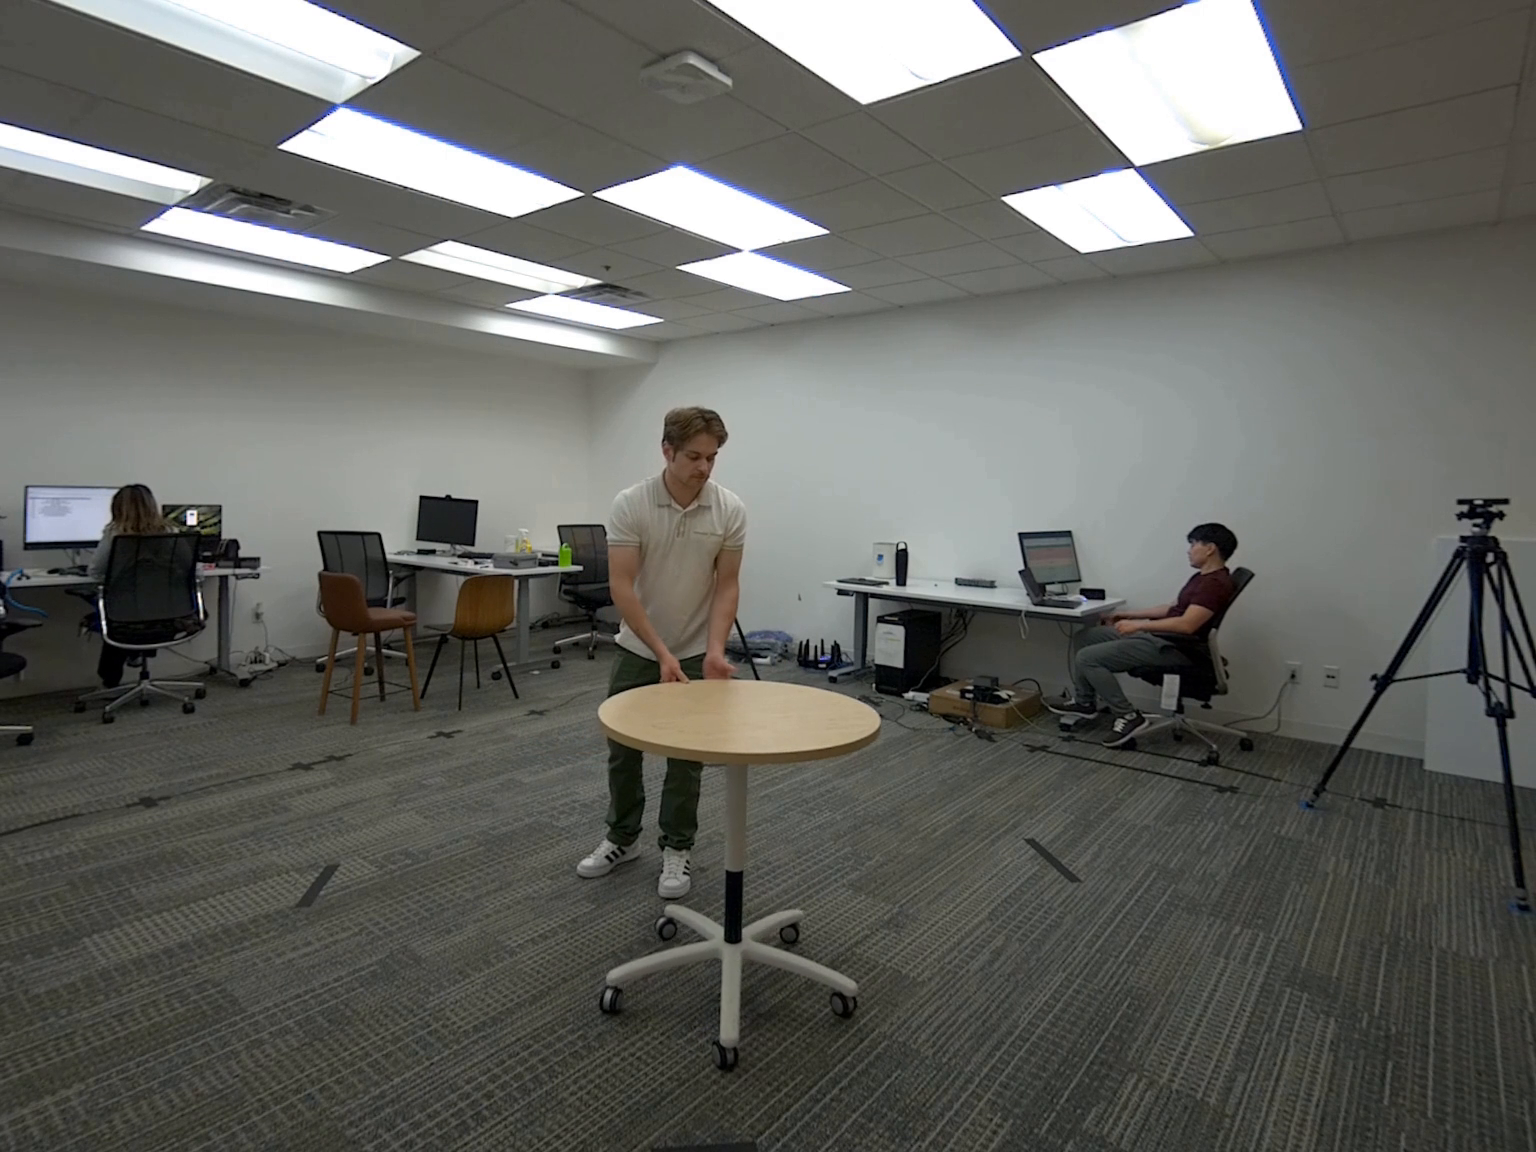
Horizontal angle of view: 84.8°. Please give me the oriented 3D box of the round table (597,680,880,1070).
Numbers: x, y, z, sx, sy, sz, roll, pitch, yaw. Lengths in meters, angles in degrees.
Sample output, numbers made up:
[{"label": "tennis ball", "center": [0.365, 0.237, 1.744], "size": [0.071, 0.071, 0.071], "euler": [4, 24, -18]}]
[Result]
[{"label": "round table", "center": [-0.103, 0.755, 2.357], "size": [0.763, 0.791, 0.768], "euler": [2, 4, -2]}]
